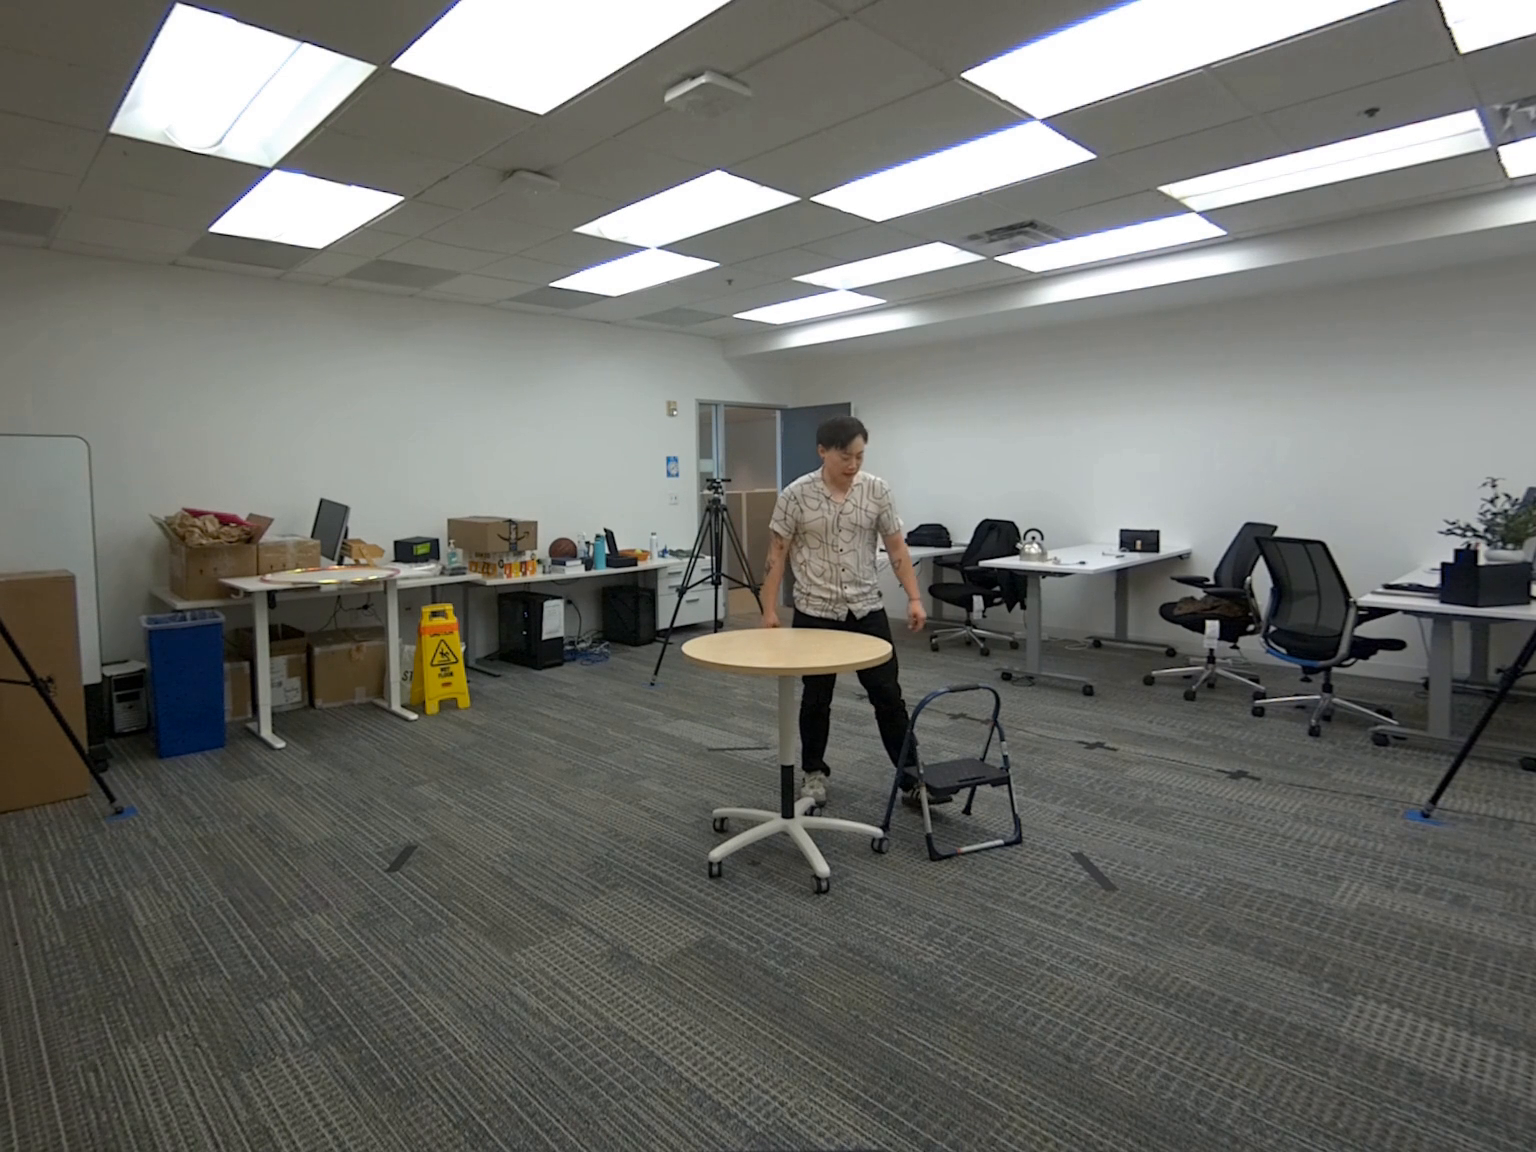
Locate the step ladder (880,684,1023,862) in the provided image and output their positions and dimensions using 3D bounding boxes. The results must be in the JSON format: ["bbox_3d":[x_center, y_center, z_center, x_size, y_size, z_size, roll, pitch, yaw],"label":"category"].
[{"bbox_3d":[0.706,0.707,3.305,0.422,0.604,0.357,-2,4,-24],"label":"step ladder"}]
